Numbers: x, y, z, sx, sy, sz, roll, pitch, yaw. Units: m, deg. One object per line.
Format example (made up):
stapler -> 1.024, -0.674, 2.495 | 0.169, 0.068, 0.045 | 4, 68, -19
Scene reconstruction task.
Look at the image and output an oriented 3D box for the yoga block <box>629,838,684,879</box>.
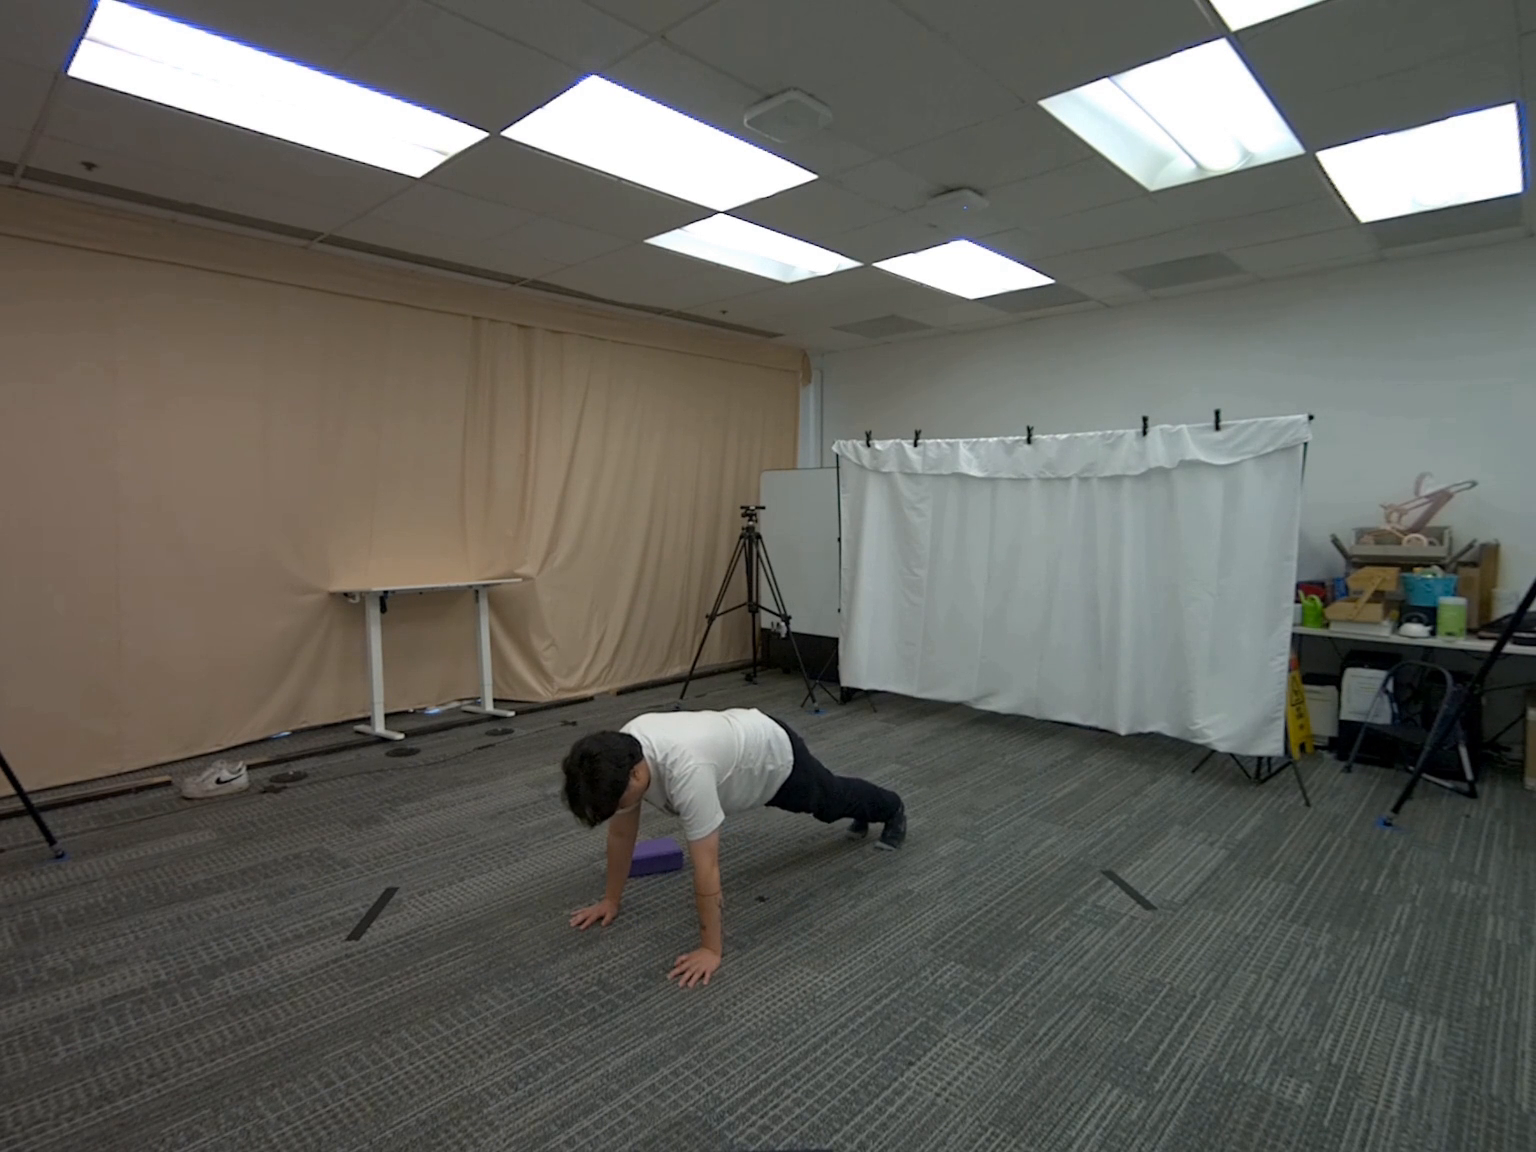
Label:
yoga block -> -0.453, 1.087, 3.258 | 0.225, 0.076, 0.152 | -3, 6, -19
